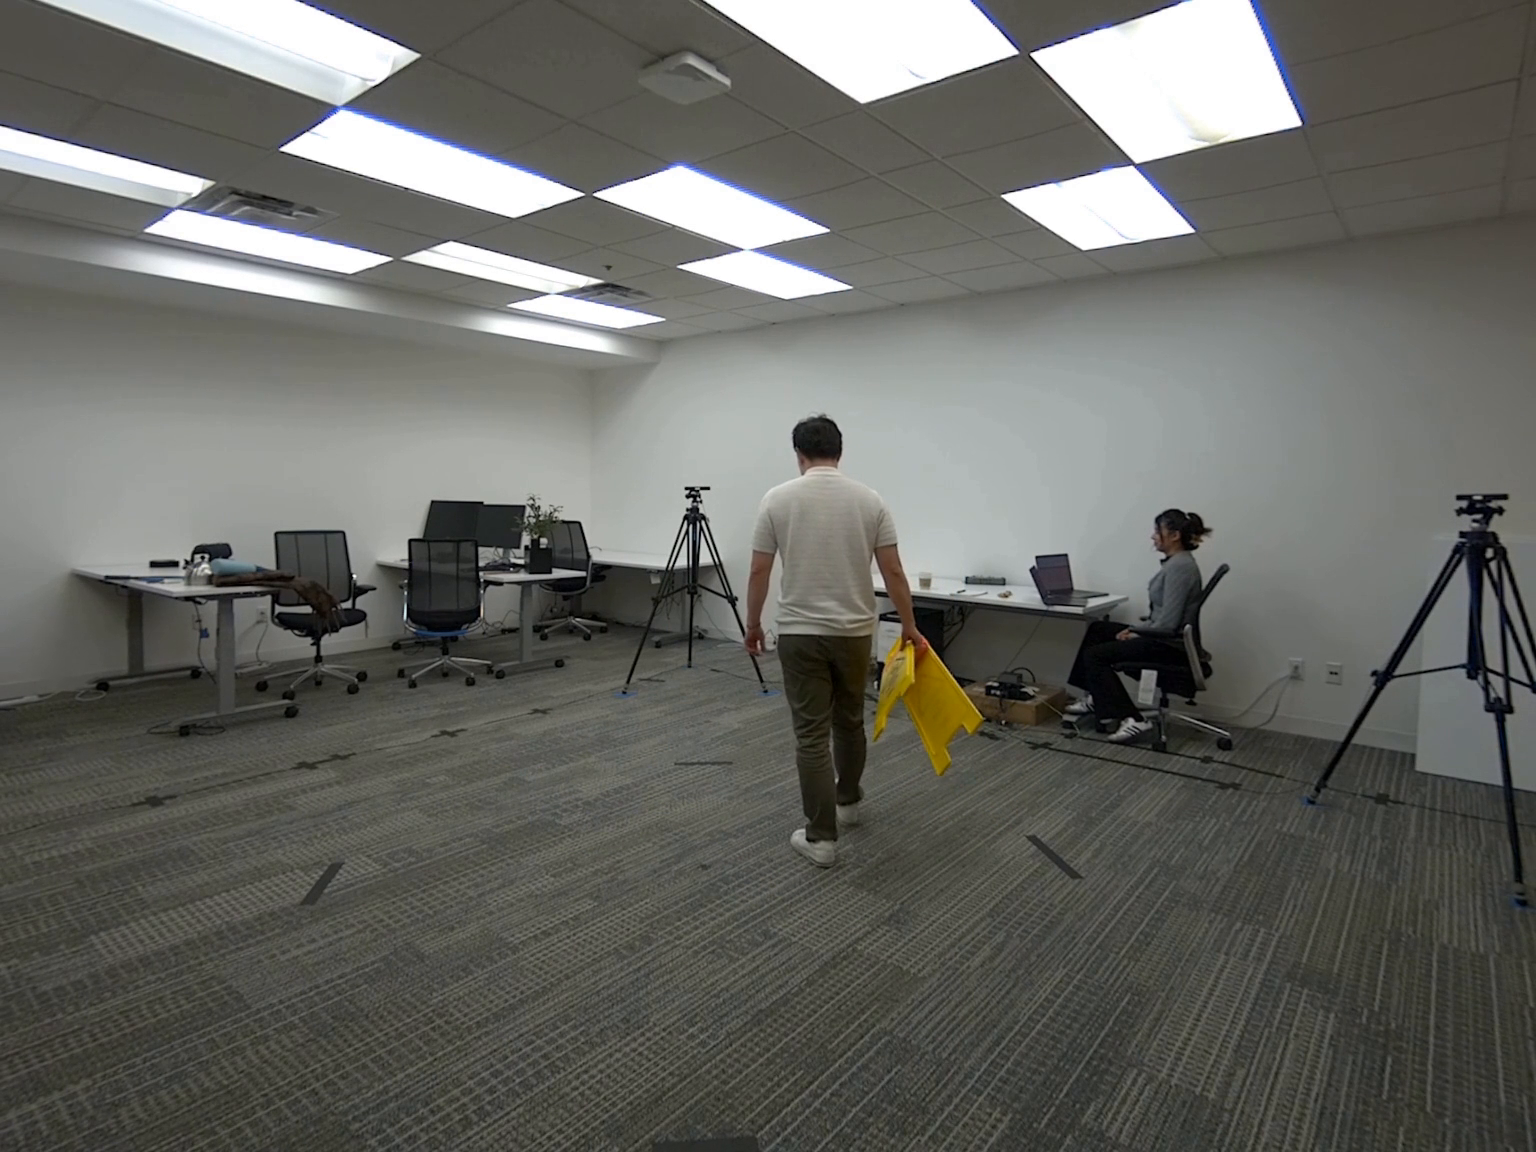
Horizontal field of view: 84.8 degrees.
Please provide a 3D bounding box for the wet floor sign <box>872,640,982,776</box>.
[{"bbox_3d":[0.550,0.408,3.300,0.285,0.281,0.659,27,20,-12],"label":"wet floor sign"}]
